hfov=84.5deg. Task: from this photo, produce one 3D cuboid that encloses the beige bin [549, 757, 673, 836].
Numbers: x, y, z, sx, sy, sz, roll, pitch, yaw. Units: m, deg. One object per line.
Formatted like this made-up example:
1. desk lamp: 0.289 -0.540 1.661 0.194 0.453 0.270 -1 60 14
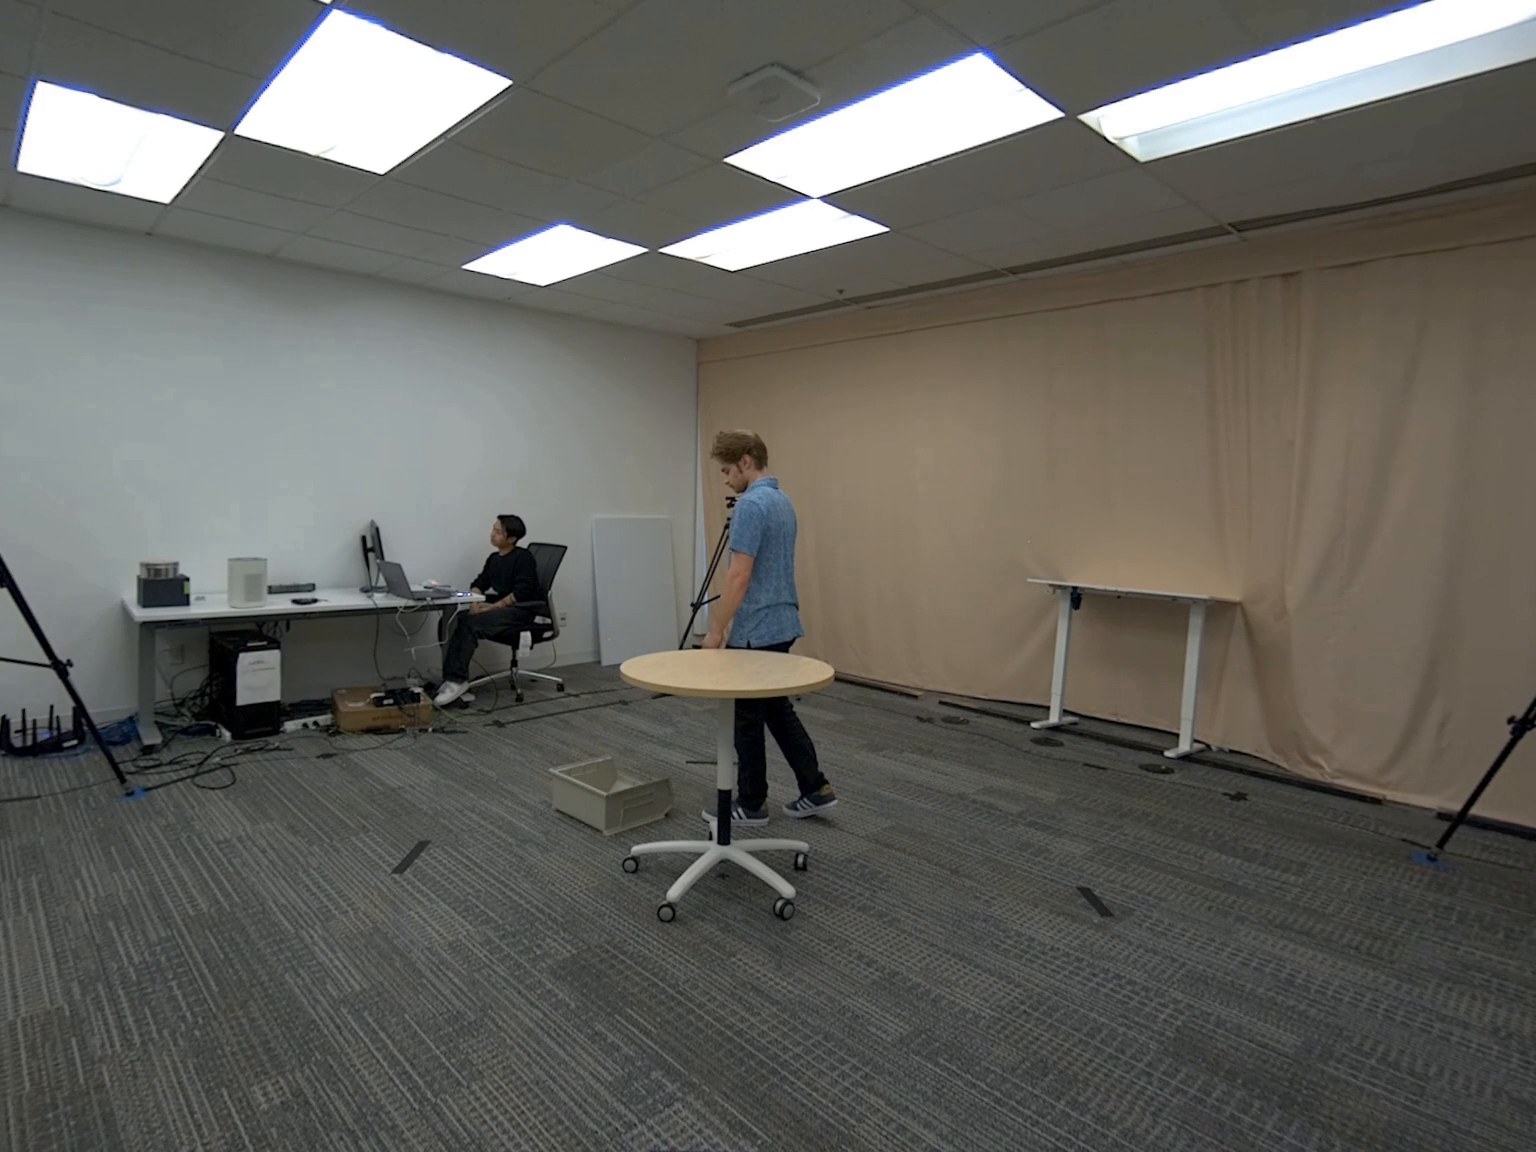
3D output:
1. beige bin: -0.697 0.955 3.704 0.433 0.188 0.369 7 8 43
